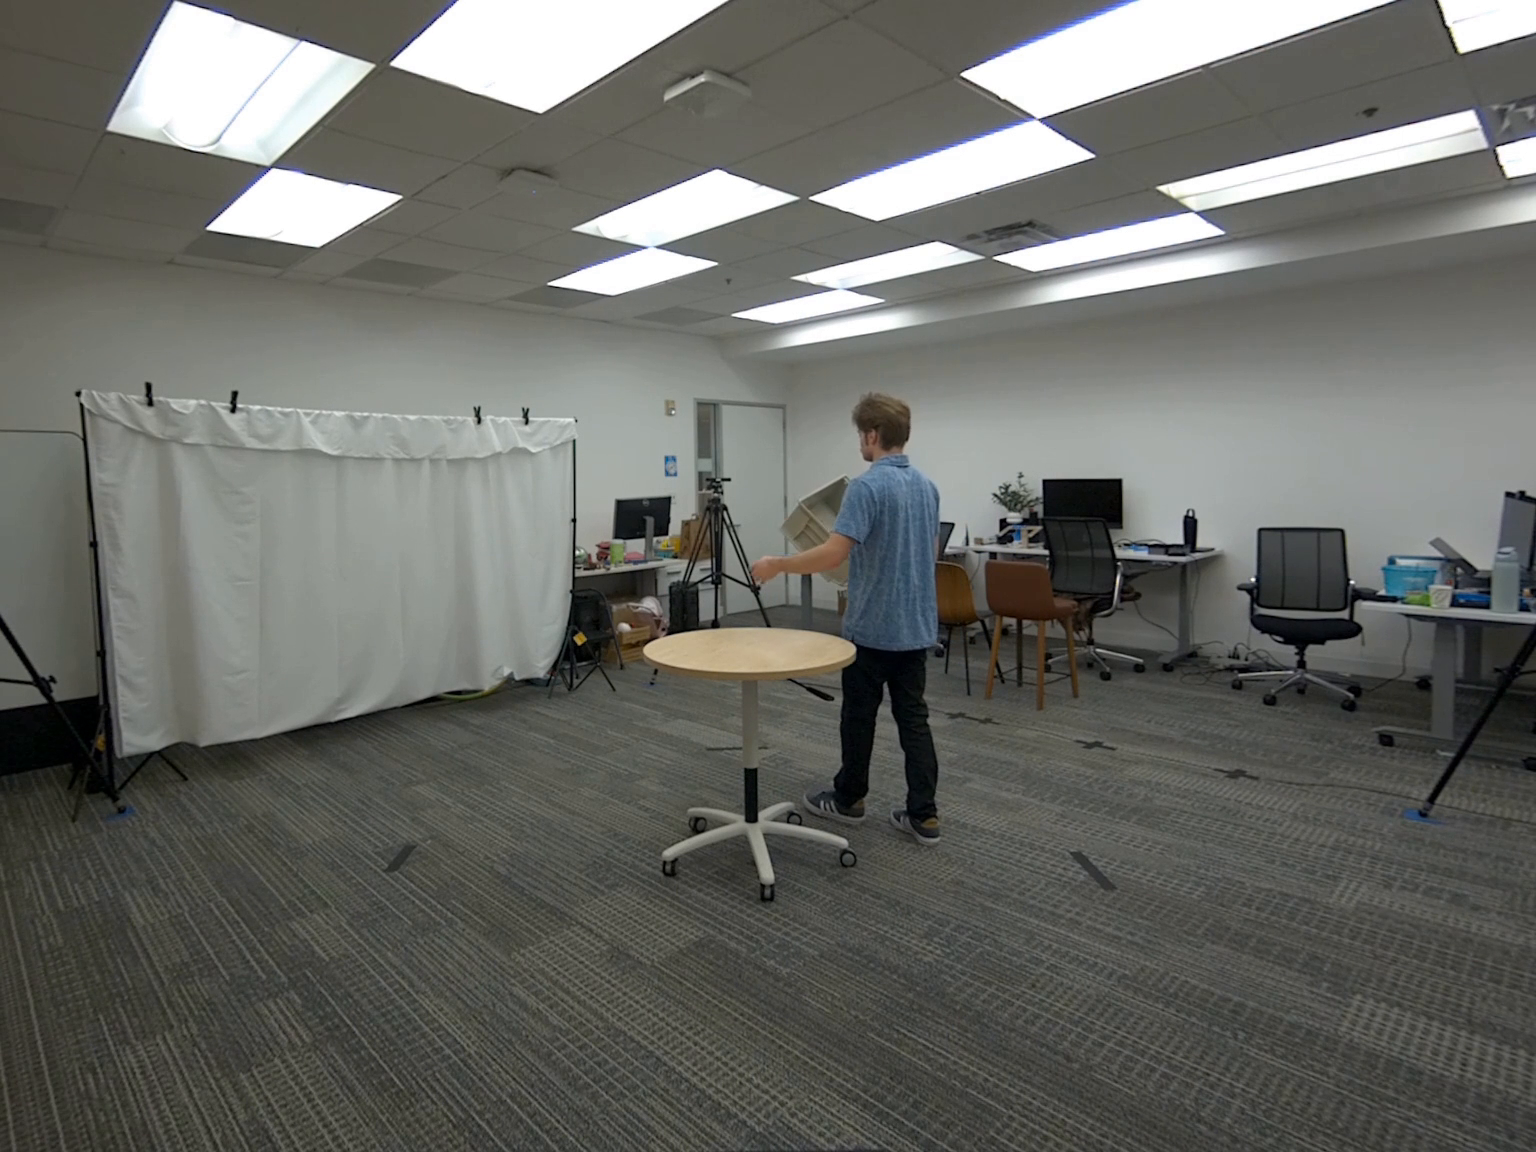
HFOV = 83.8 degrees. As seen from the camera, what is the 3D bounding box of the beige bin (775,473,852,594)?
[{"bbox_3d":[0.317,-0.198,3.734,0.418,0.383,0.188,-33,-15,-50],"label":"beige bin"}]
